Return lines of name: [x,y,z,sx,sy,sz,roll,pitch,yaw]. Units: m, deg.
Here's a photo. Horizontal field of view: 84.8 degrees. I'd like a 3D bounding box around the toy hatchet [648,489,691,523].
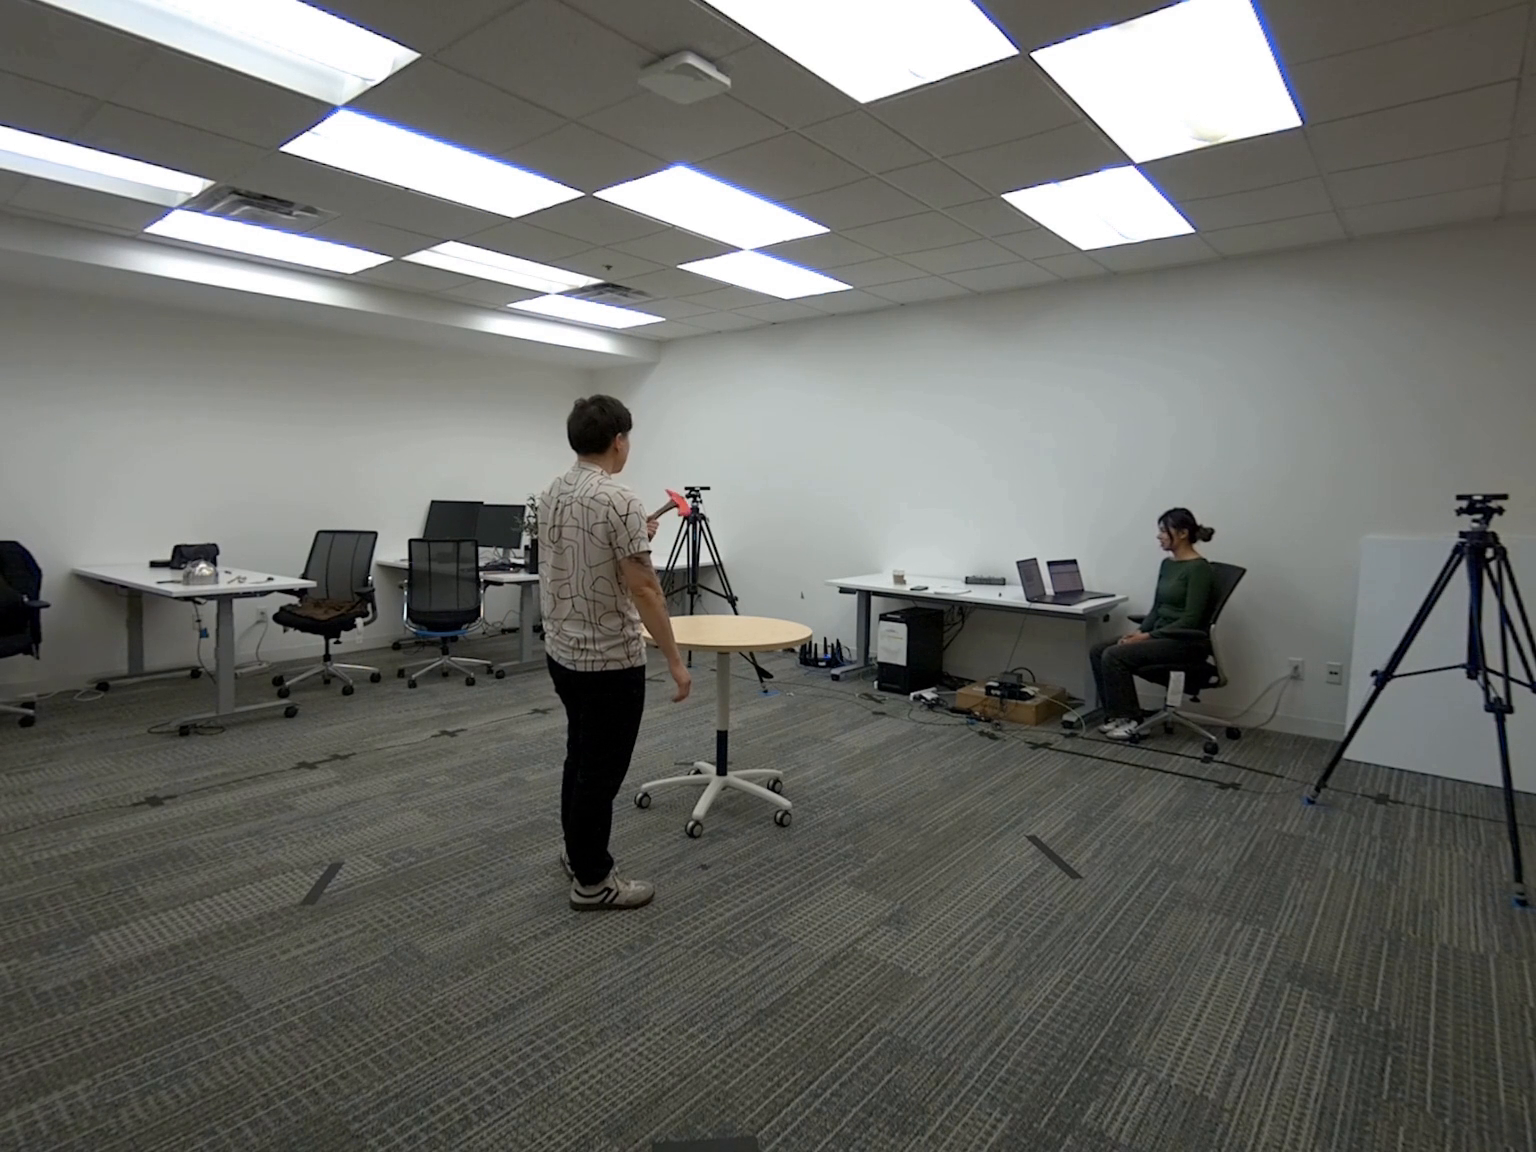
toy hatchet: [-0.391,-0.216,3.203,0.131,0.273,0.029,29,-40,-3]
